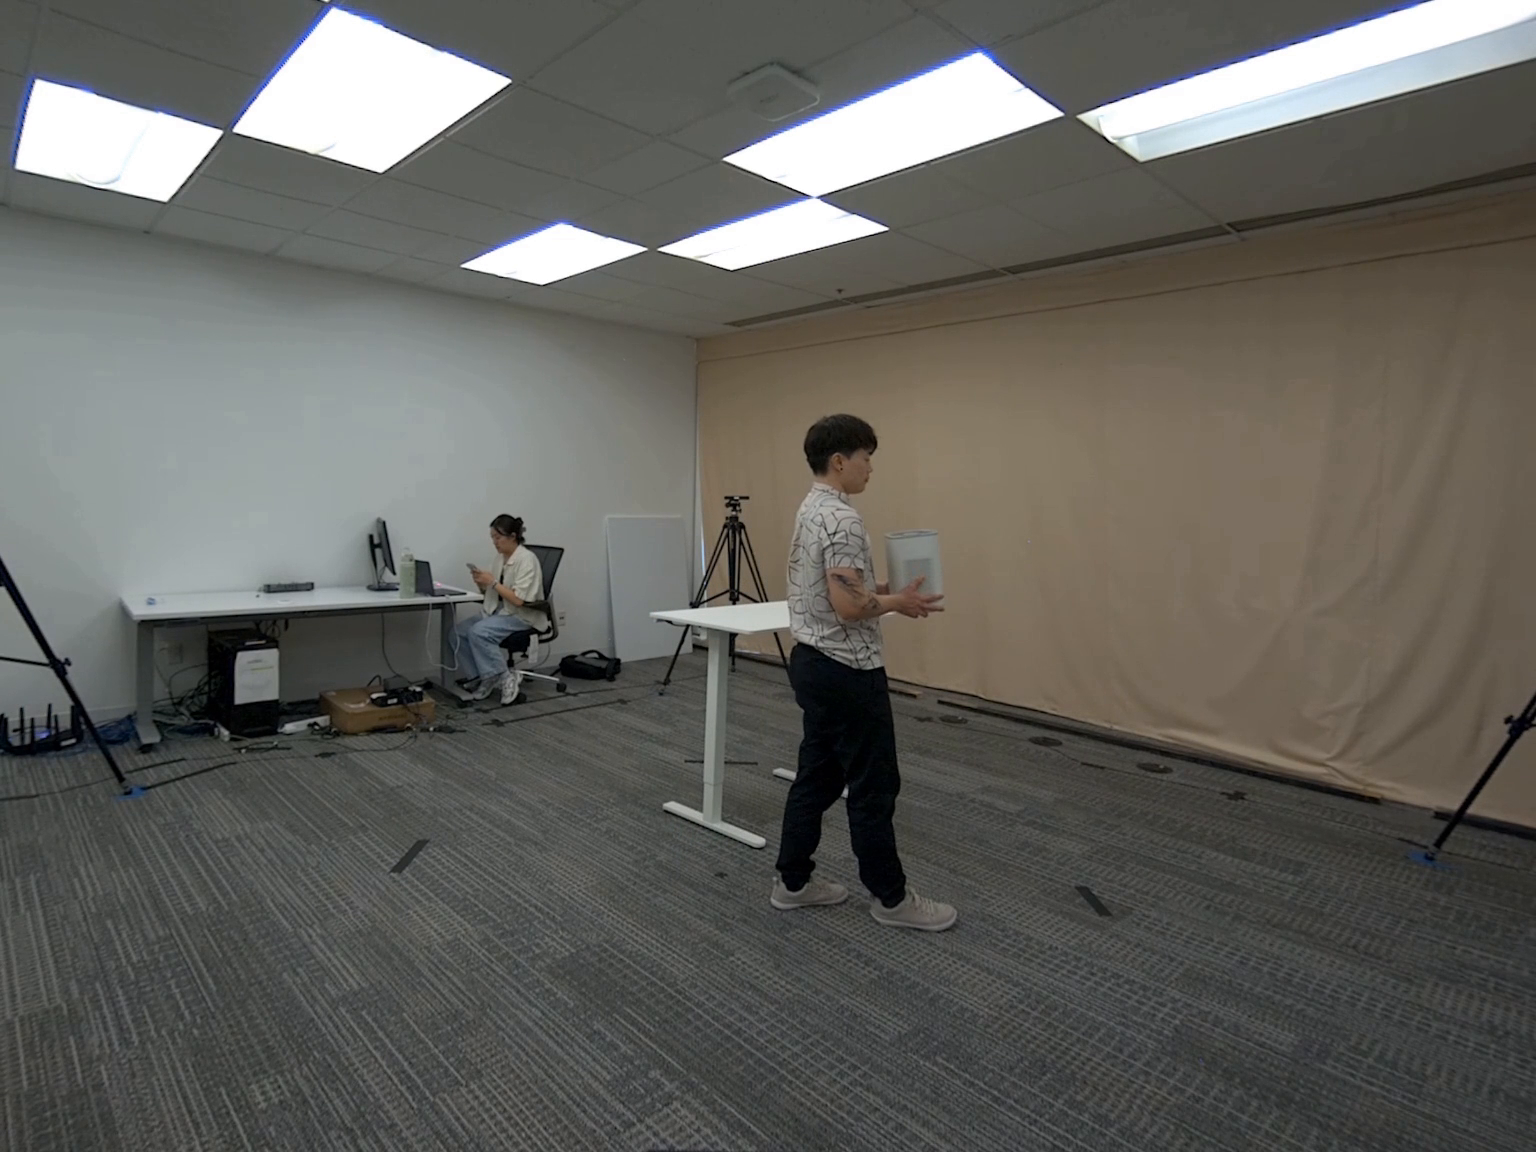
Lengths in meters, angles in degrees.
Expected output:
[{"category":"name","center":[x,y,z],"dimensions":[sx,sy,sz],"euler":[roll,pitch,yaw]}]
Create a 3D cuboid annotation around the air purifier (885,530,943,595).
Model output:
[{"category":"air purifier","center":[0.488,-0.017,2.844],"dimensions":[0.171,0.264,0.172],"euler":[-7,6,-2]}]
